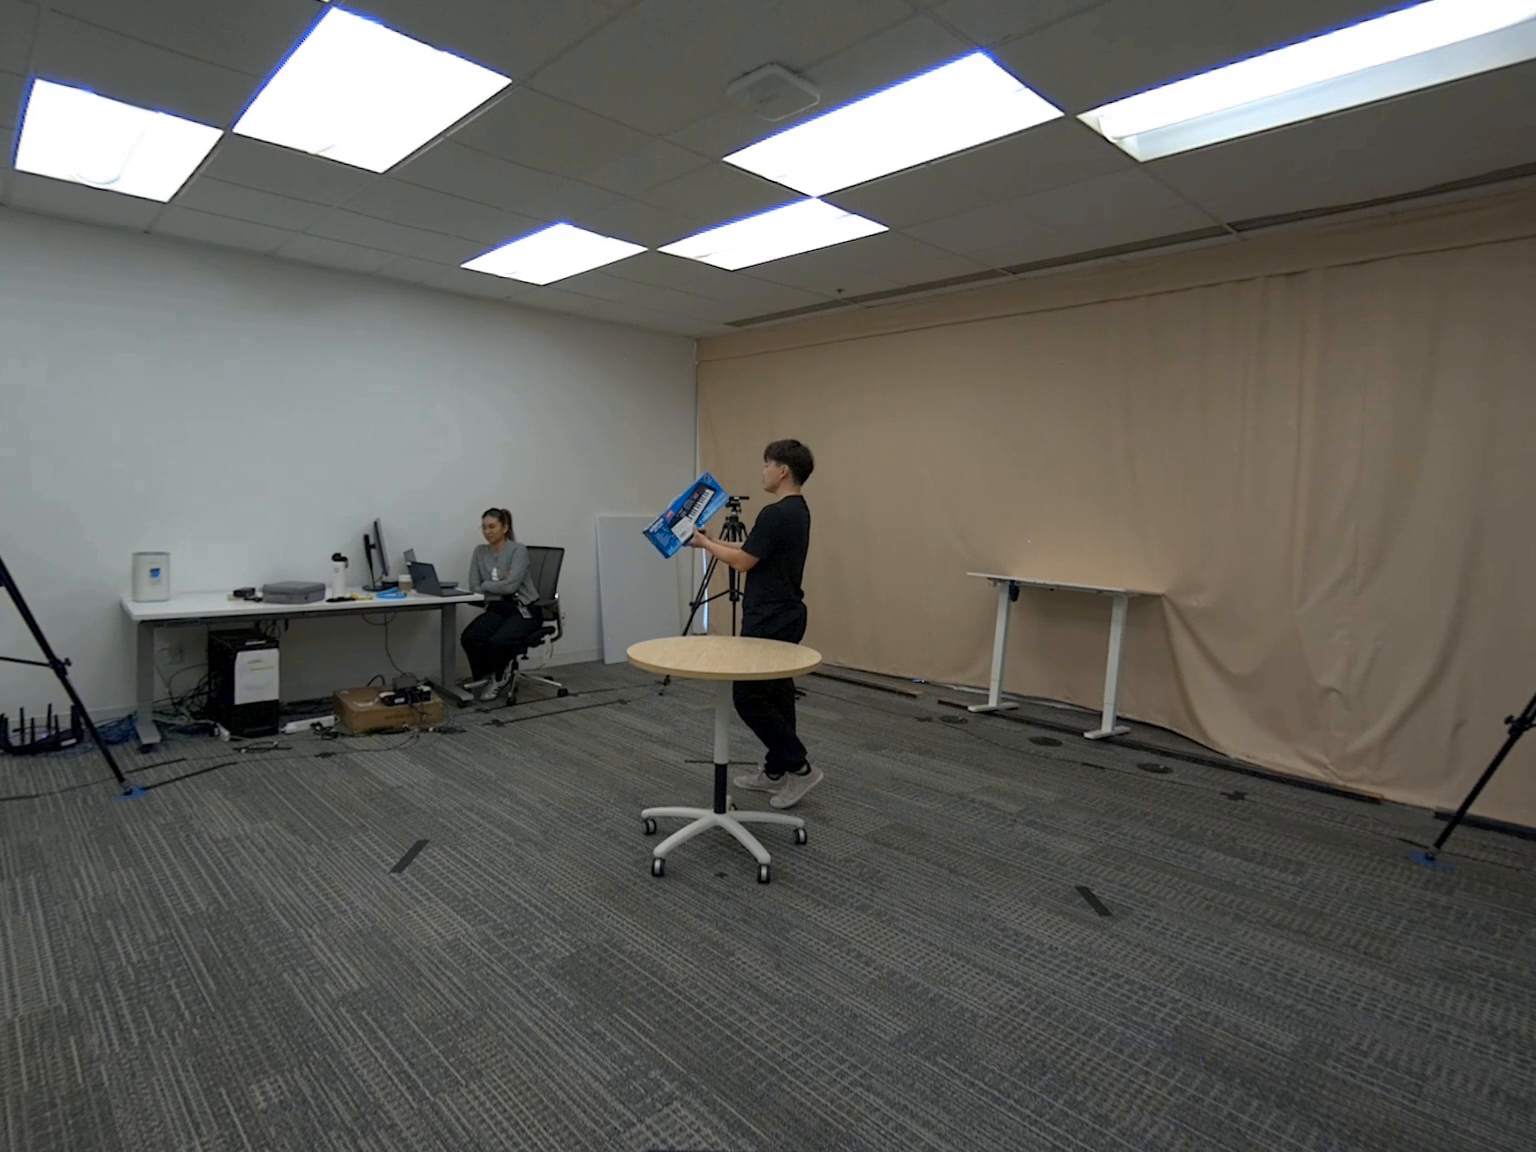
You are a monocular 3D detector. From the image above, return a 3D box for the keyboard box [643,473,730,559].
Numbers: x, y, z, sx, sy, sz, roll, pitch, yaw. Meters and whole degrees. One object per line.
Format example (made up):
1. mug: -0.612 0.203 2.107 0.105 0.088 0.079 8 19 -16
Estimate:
1. keyboard box: -0.392 -0.289 4.001 0.437 0.174 0.060 -47 12 -23
